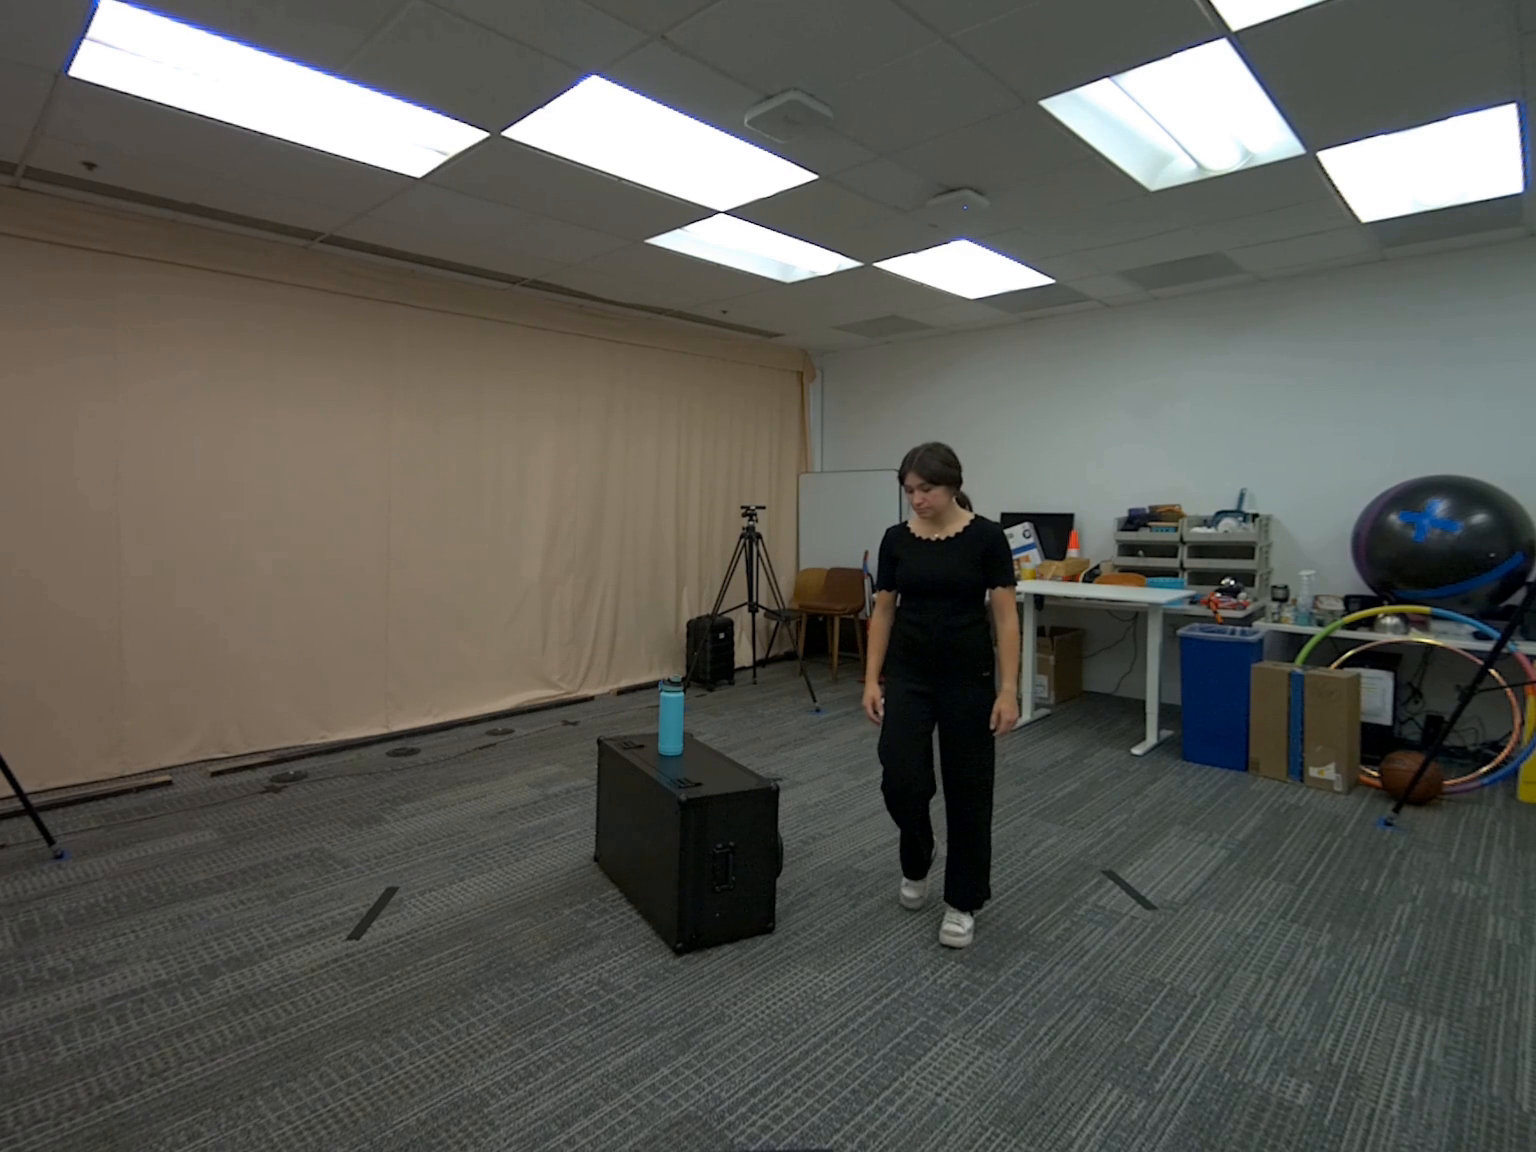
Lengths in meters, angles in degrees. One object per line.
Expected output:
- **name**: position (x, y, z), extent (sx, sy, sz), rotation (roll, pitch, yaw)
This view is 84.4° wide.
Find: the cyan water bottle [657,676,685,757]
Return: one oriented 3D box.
- **cyan water bottle**: position (-0.356, 0.510, 3.093), extent (0.092, 0.283, 0.092), rotation (1, 2, -2)
